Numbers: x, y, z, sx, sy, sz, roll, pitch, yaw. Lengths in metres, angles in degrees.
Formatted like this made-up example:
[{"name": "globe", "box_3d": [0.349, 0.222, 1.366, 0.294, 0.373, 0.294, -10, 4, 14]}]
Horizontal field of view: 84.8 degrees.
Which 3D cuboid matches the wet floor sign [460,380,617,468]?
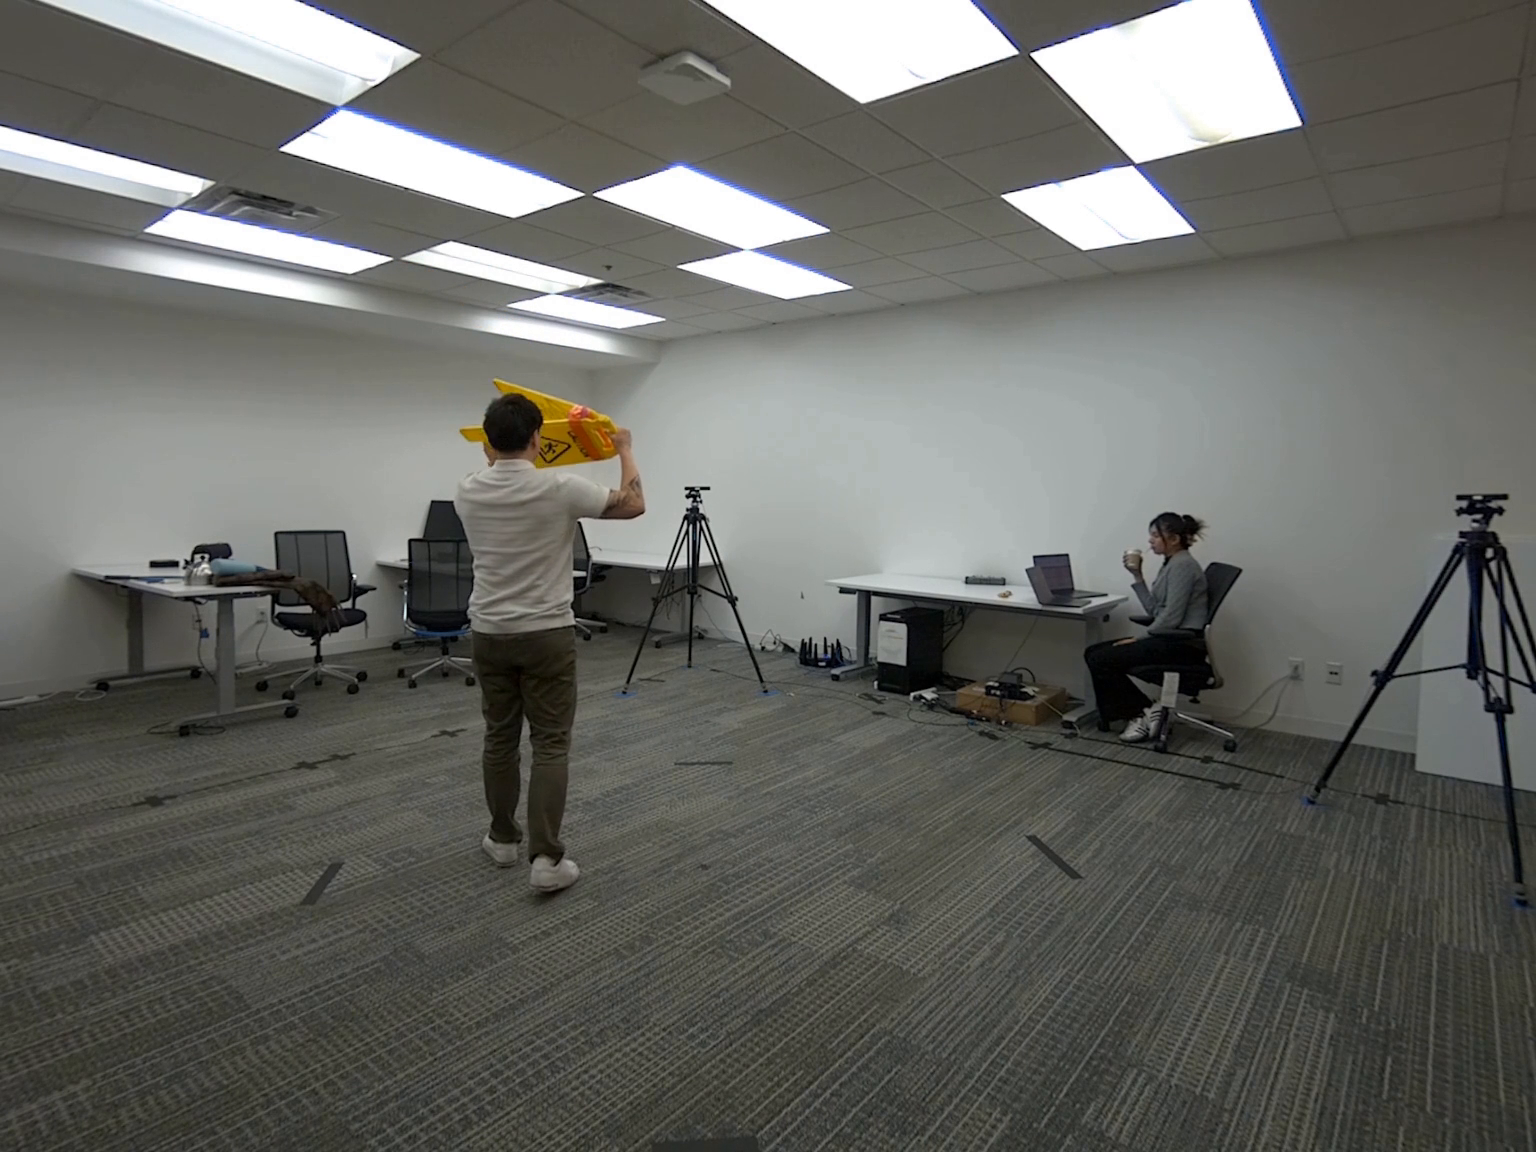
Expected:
[{"name": "wet floor sign", "box_3d": [-0.844, -0.554, 3.322, 0.666, 0.293, 0.271, 9, -30, 28]}]
